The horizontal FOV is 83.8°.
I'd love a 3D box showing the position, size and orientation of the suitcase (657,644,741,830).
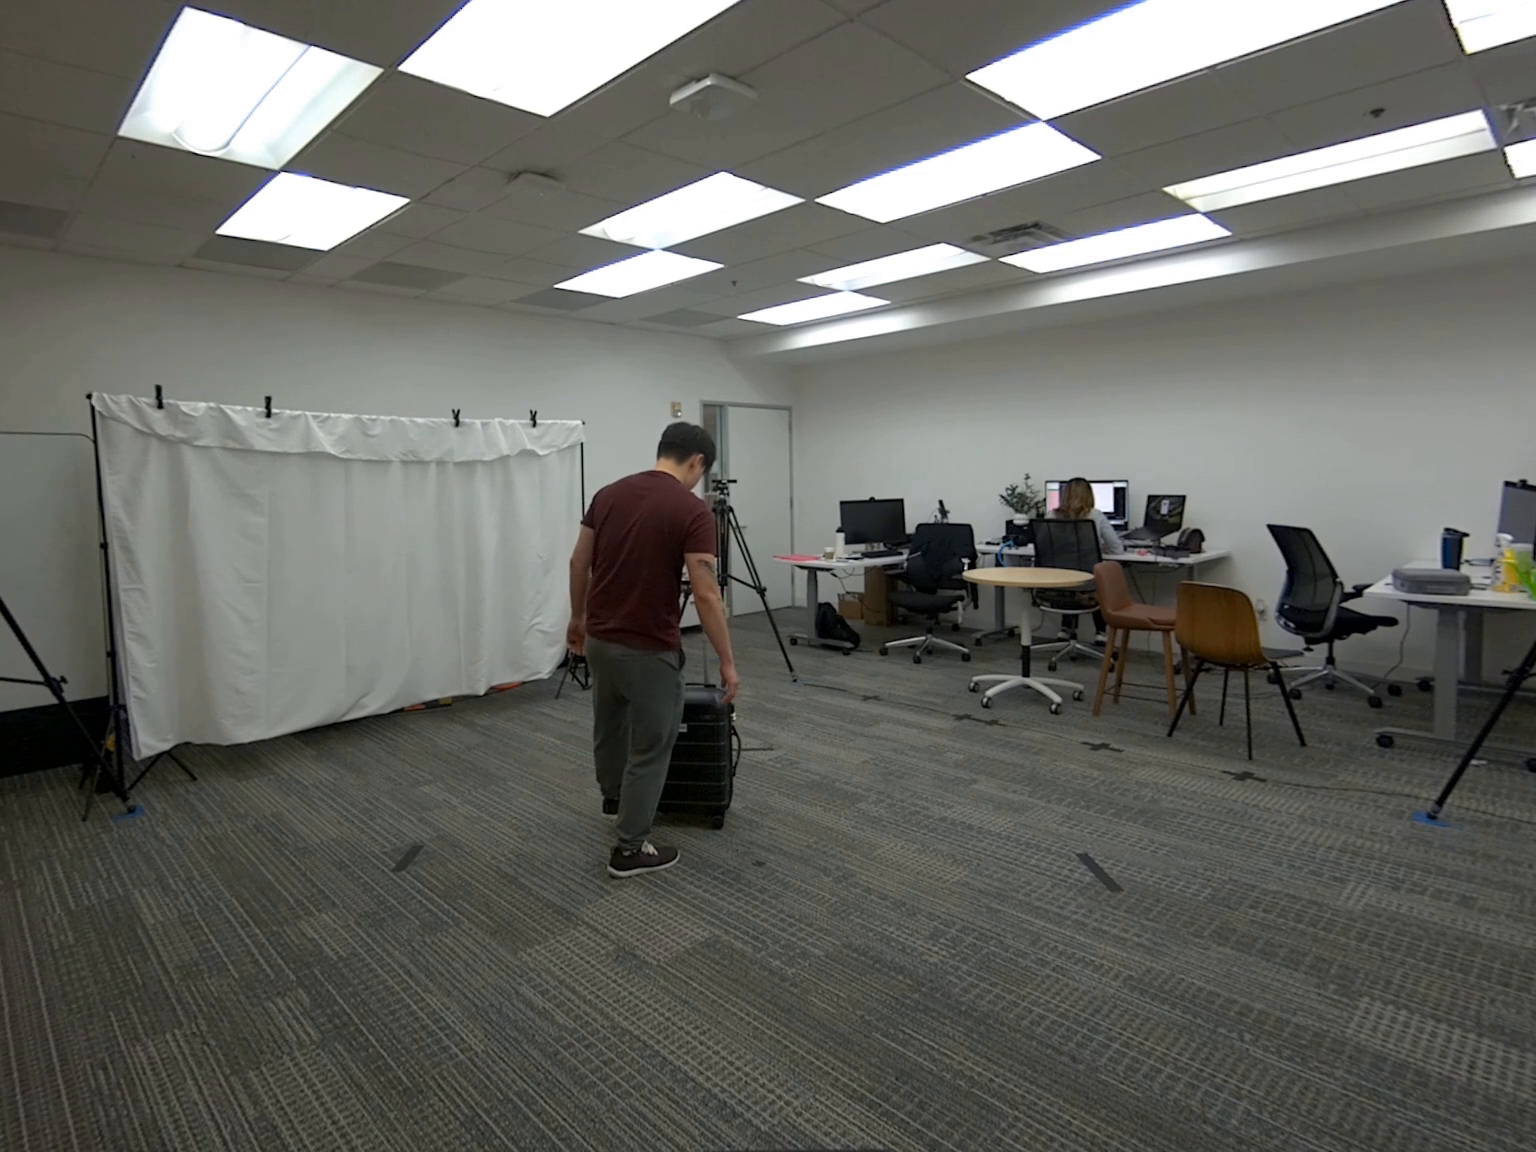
[{"bbox_3d":[-0.322,0.526,3.541,0.387,0.976,0.255,0,2,8],"label":"suitcase"}]
